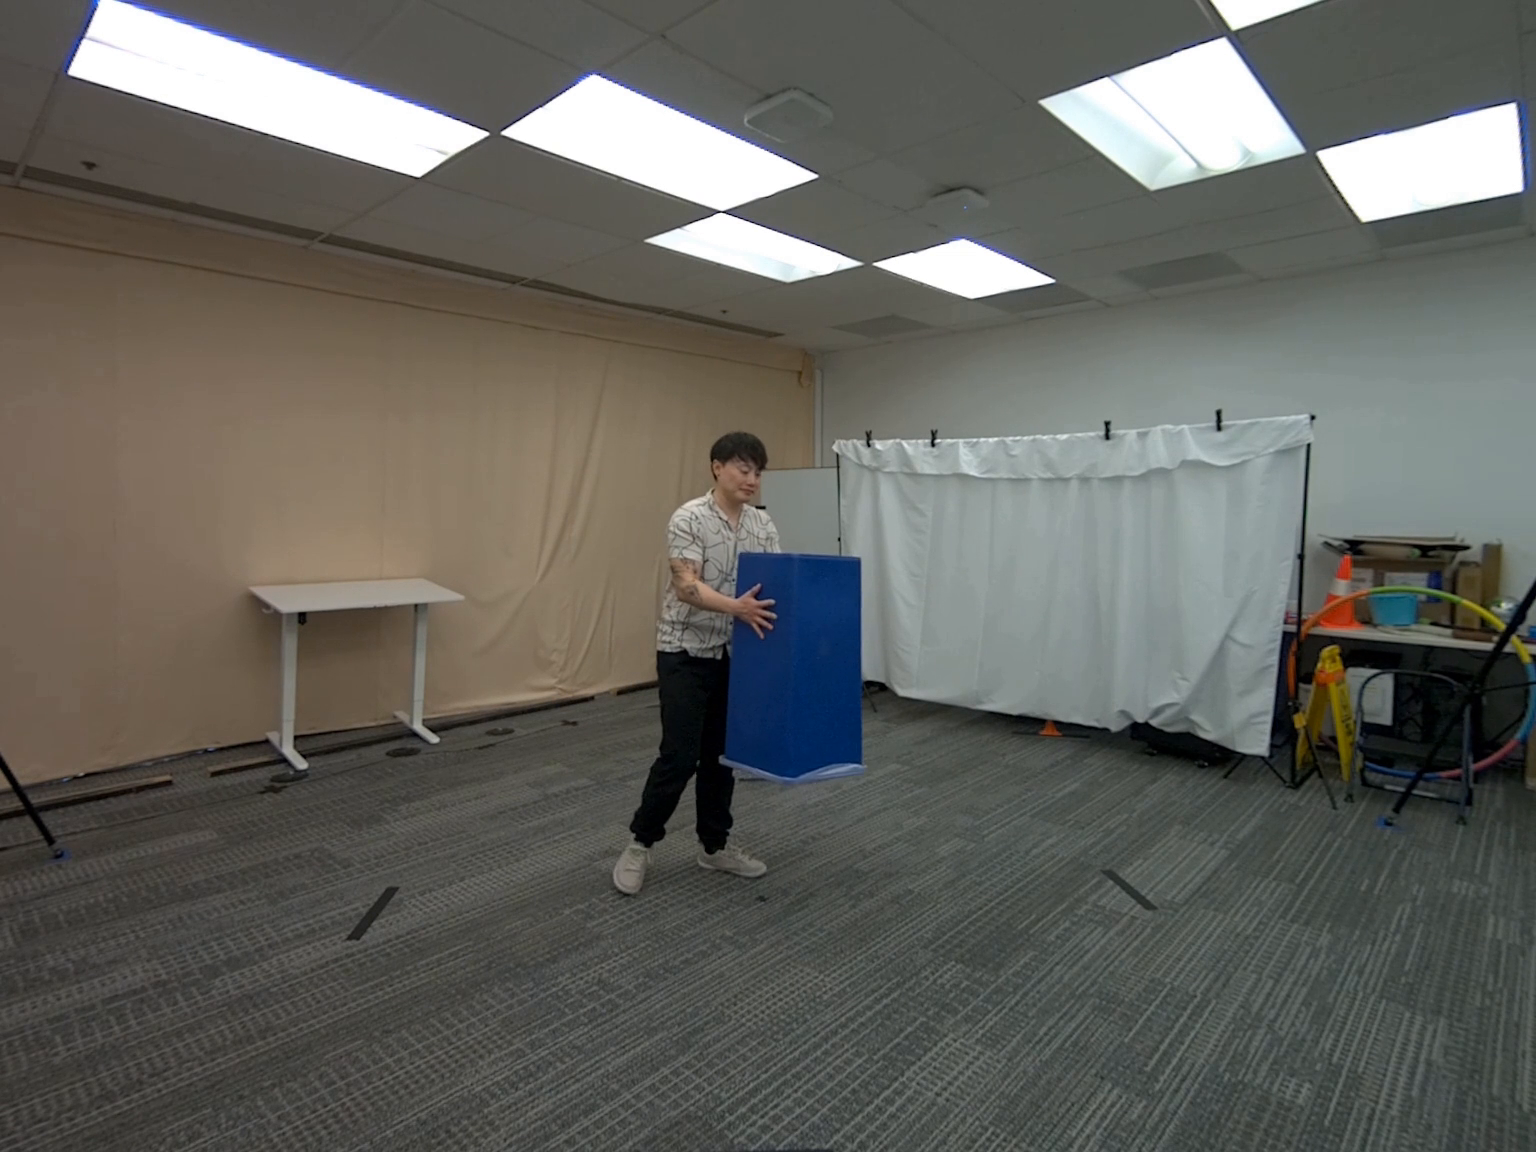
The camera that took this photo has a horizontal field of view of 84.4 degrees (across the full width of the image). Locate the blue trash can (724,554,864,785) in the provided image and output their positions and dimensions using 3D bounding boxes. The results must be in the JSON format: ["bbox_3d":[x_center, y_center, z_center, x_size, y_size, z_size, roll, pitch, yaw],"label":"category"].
[{"bbox_3d":[0.104,0.289,2.817,0.362,0.714,0.390,3,-2,-38],"label":"blue trash can"}]
